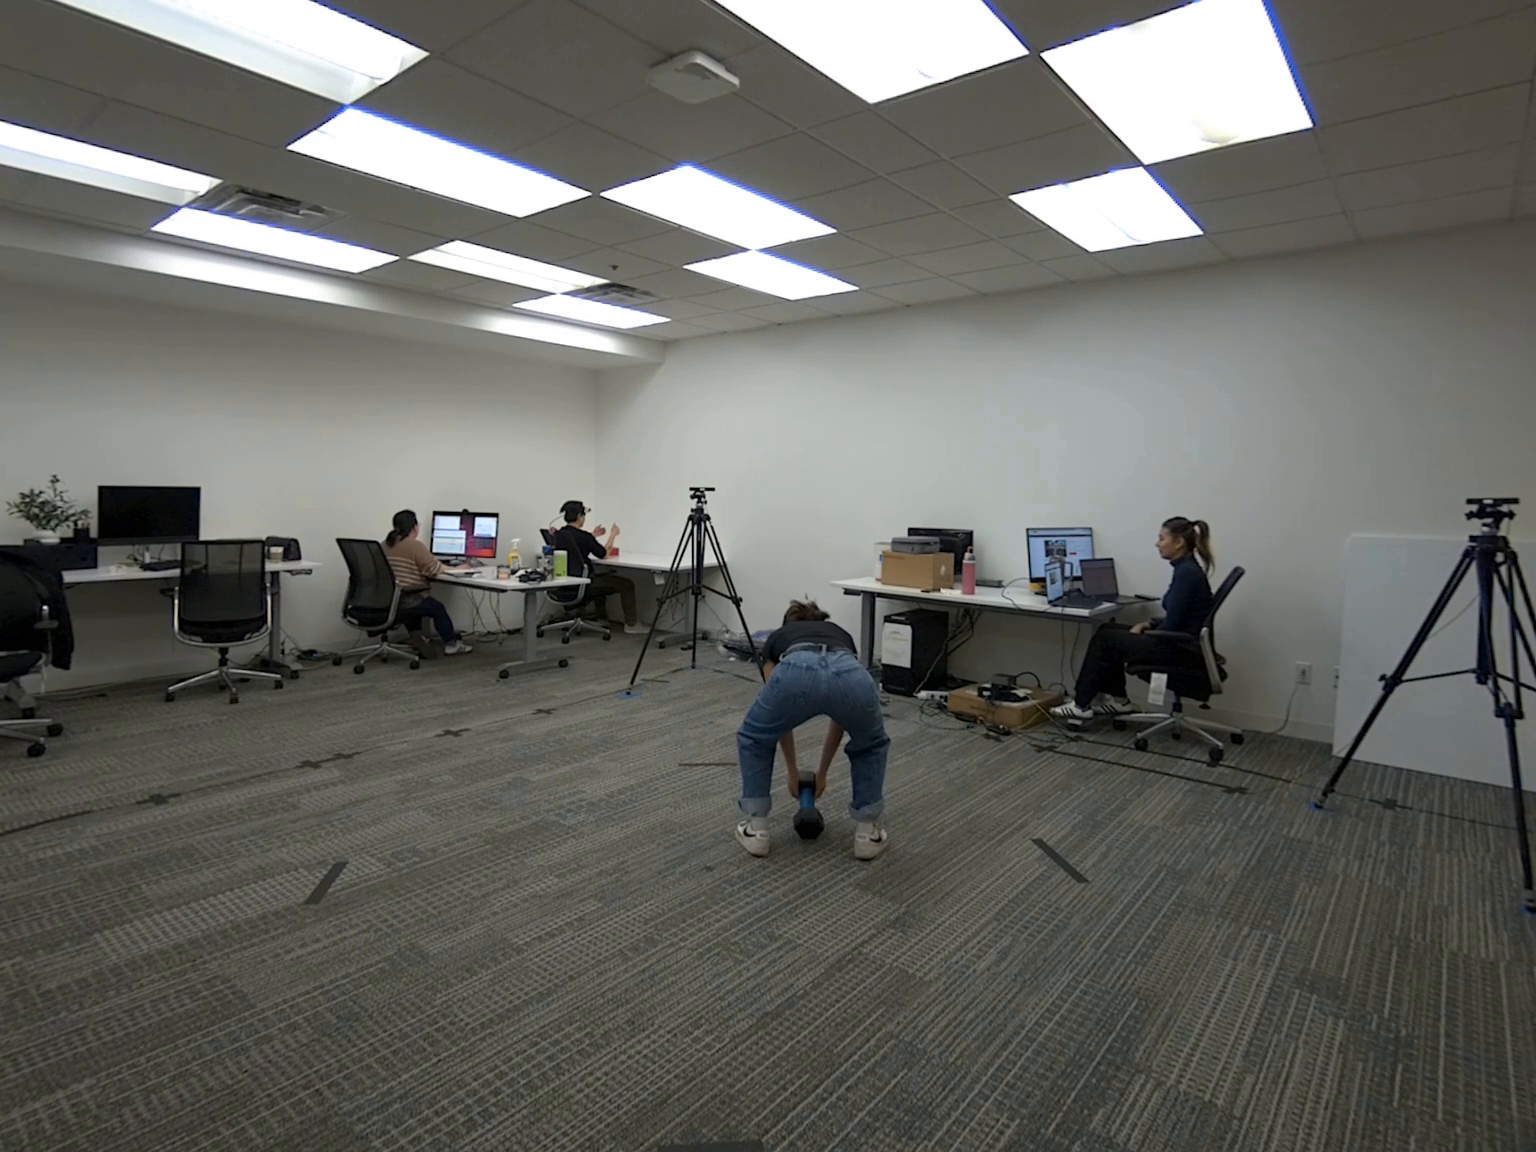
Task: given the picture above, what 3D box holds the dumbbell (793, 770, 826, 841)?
[{"bbox_3d":[0.149,0.944,3.493,0.109,0.119,0.301,-28,26,11],"label":"dumbbell"}]
